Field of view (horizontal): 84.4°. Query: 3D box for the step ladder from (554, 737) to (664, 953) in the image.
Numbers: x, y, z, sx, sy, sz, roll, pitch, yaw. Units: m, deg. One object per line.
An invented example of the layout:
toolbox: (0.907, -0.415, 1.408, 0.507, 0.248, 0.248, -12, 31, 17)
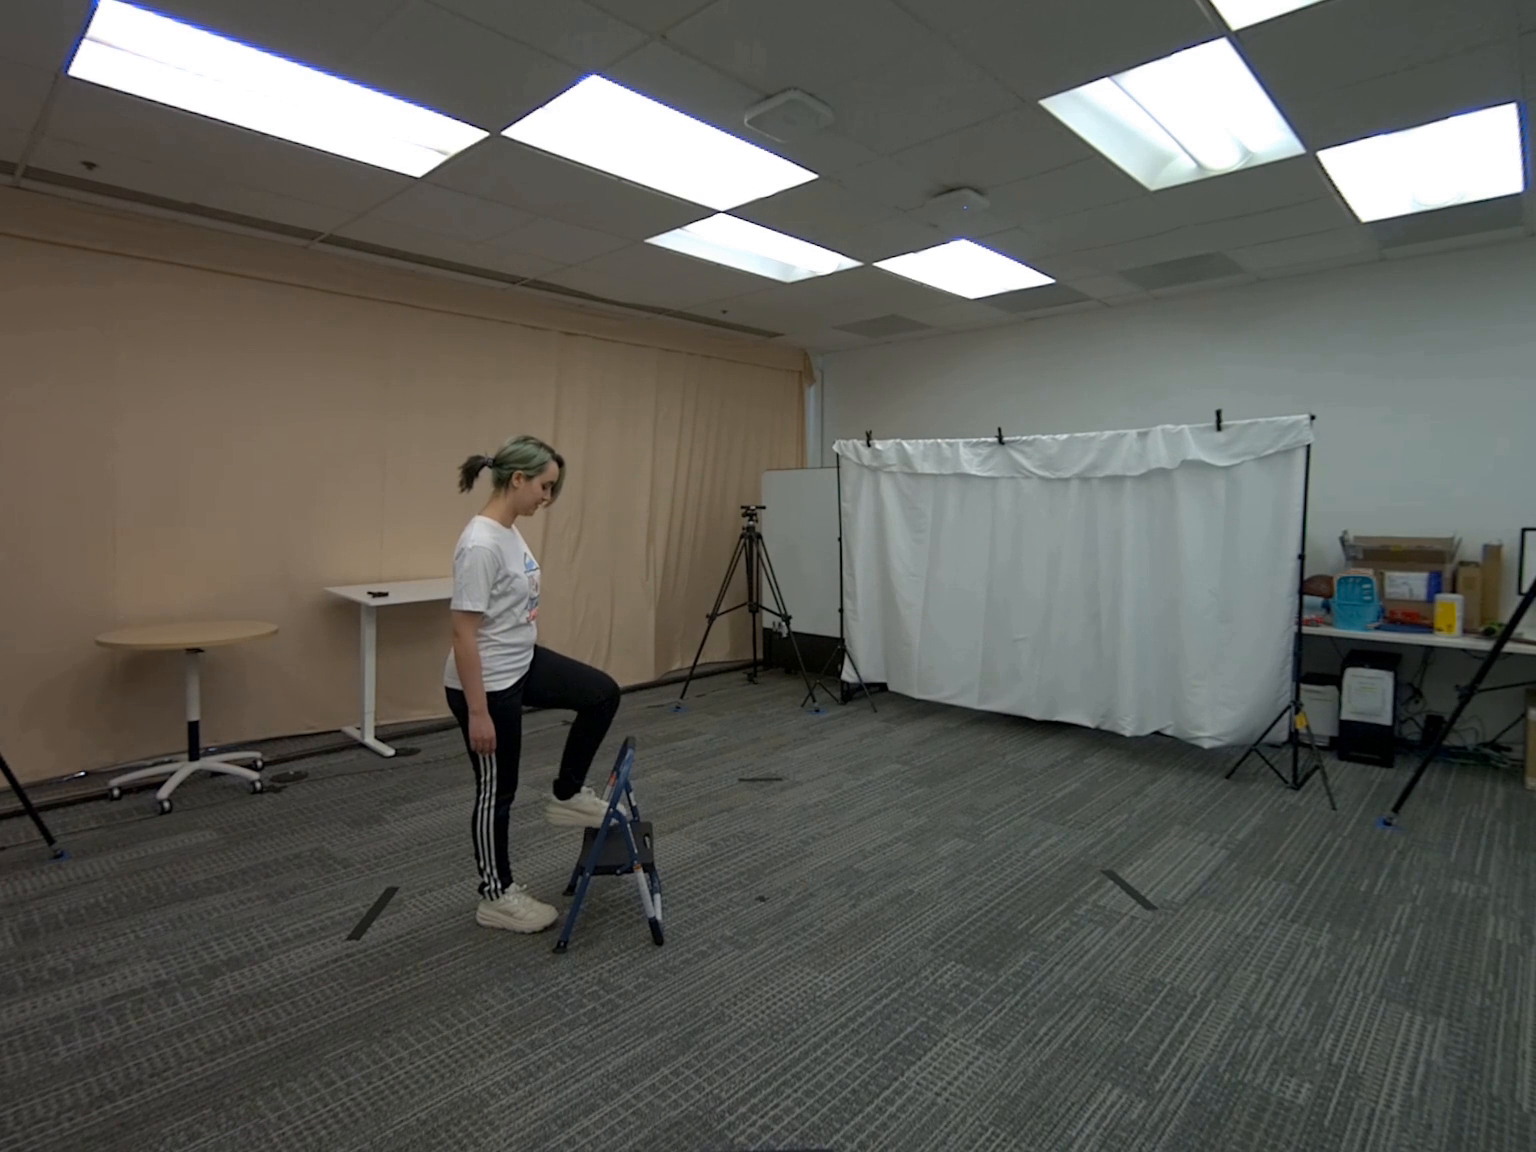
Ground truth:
step ladder: (-0.533, 0.861, 2.836, 0.347, 0.605, 0.435, -1, 3, -8)
